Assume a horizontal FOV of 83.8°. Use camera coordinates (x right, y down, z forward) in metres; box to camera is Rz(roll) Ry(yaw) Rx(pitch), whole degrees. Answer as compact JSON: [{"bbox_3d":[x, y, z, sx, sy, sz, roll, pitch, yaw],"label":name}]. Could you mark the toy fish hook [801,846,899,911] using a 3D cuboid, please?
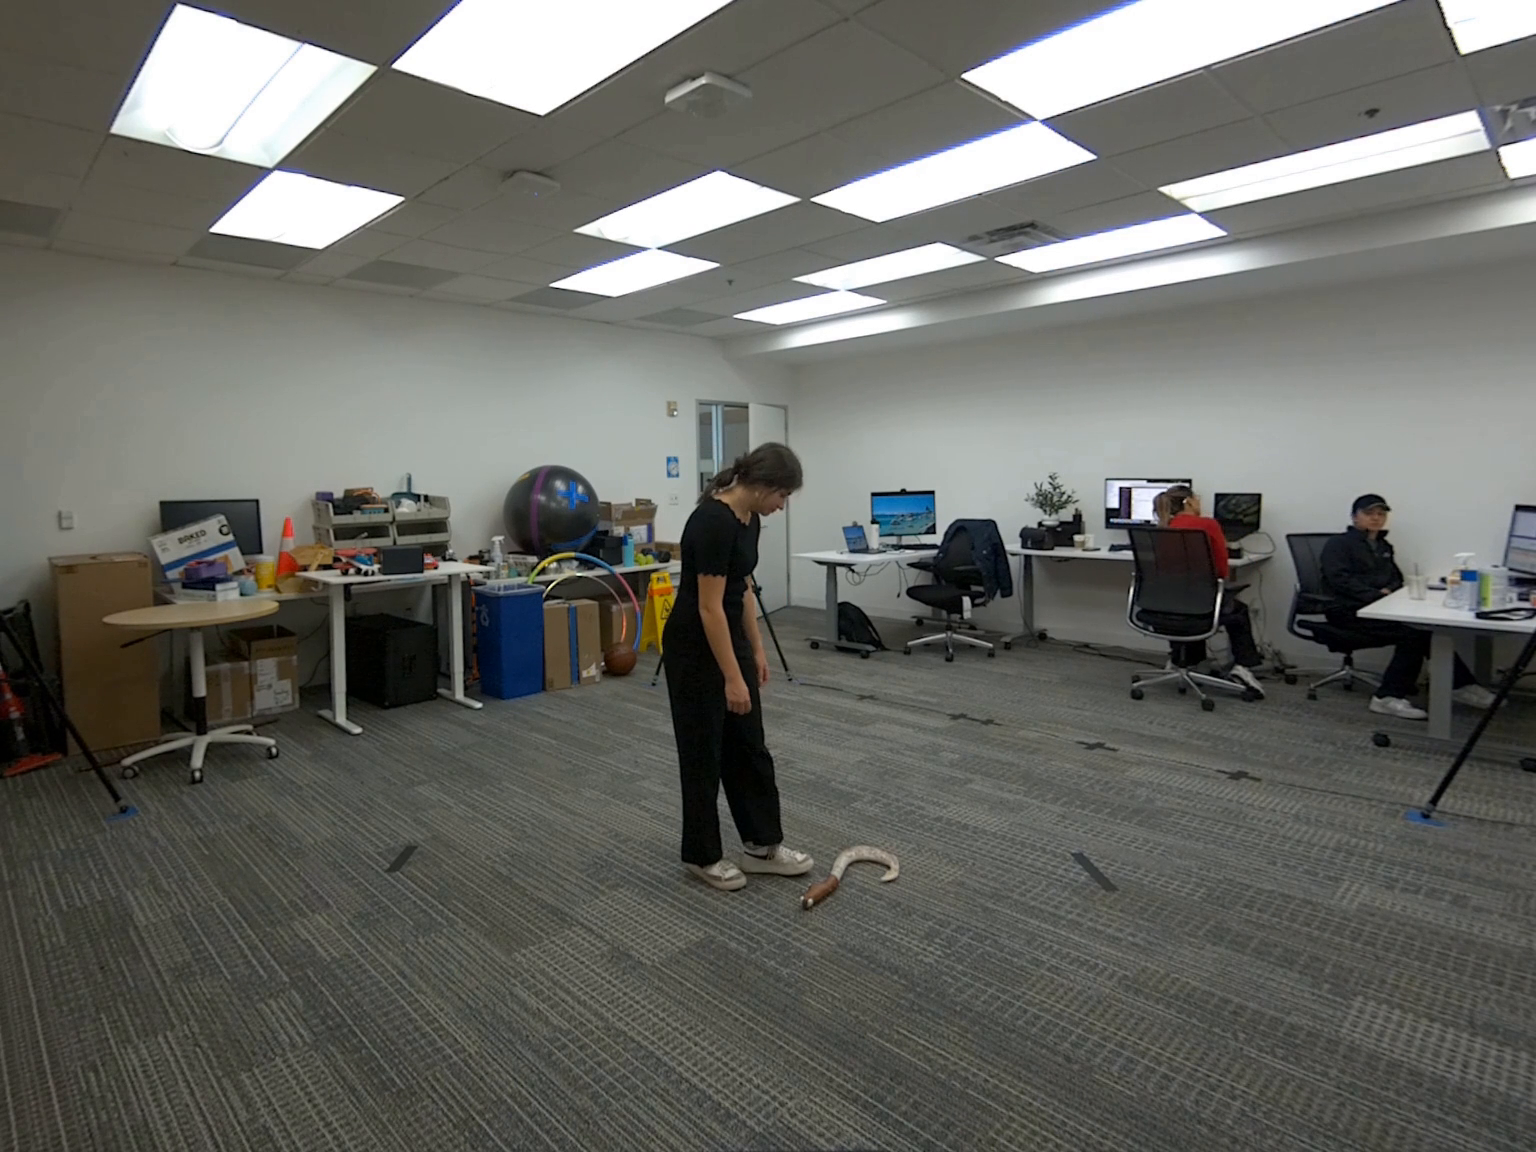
[{"bbox_3d":[0.291,1.036,2.925,0.231,0.048,0.495,1,7,32],"label":"toy fish hook"}]
